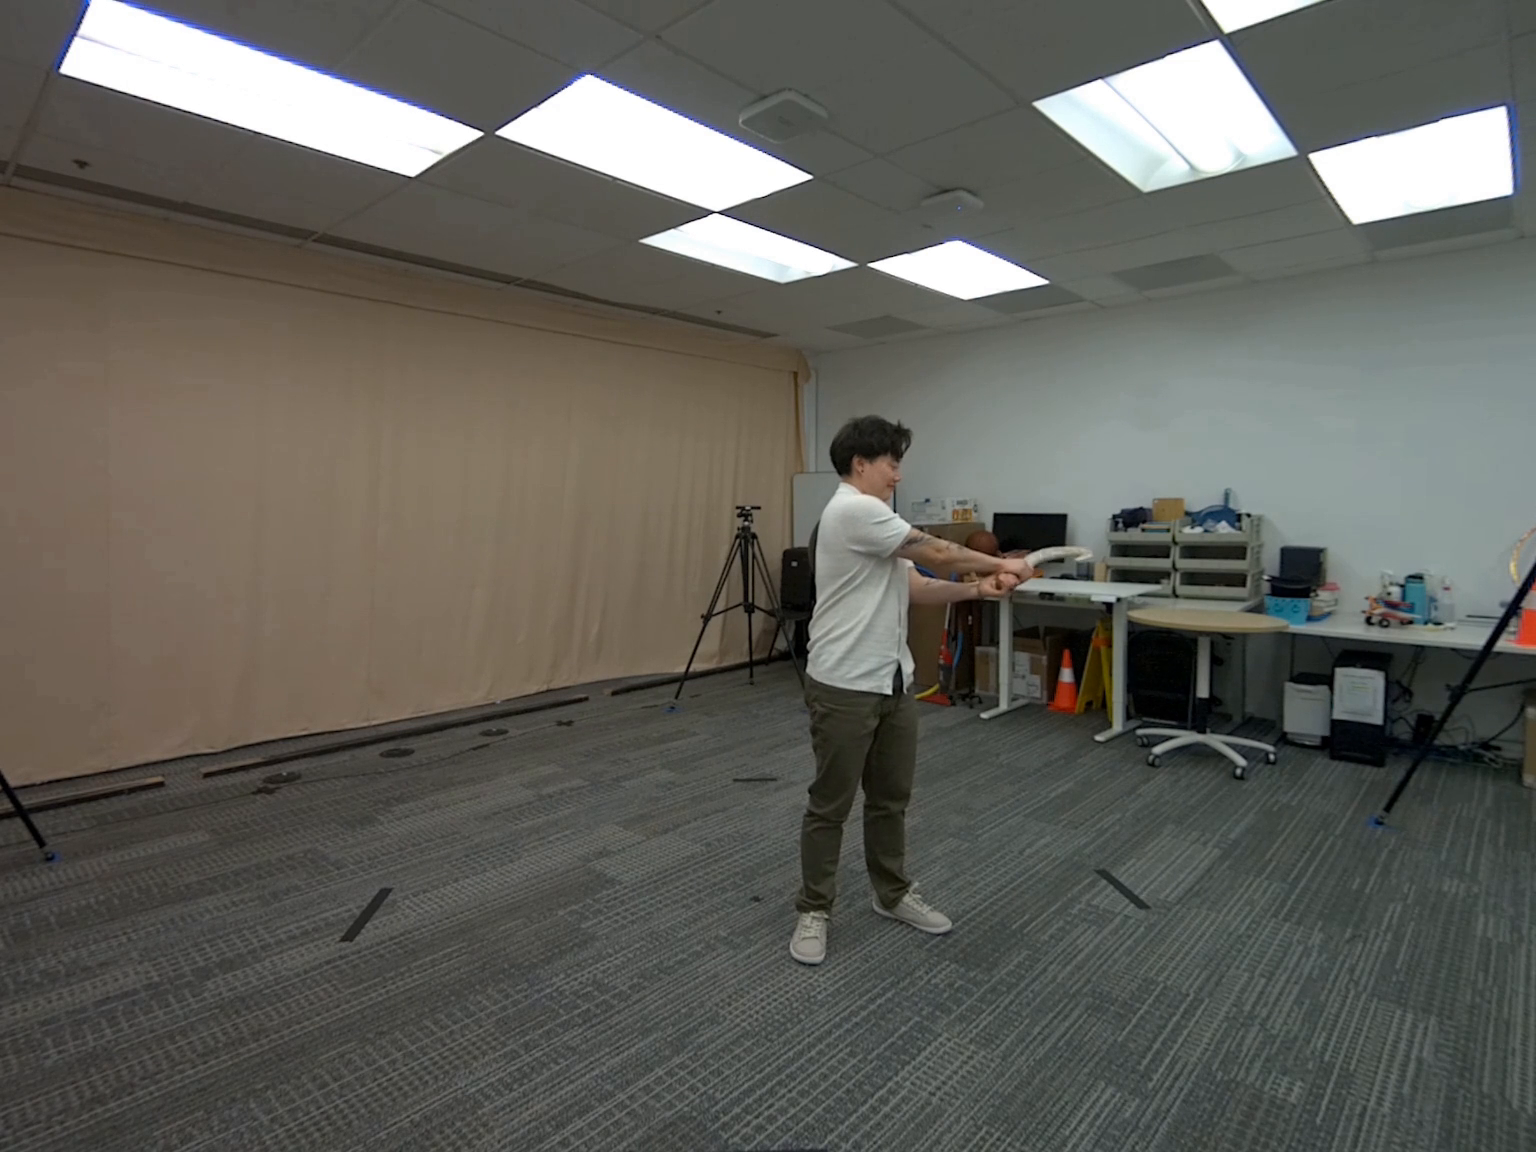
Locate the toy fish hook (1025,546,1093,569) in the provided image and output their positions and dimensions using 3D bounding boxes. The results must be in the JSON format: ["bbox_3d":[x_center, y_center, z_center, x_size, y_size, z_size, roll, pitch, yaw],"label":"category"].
[{"bbox_3d":[0.901,-0.025,2.721,0.231,0.048,0.495,-10,8,45],"label":"toy fish hook"}]
